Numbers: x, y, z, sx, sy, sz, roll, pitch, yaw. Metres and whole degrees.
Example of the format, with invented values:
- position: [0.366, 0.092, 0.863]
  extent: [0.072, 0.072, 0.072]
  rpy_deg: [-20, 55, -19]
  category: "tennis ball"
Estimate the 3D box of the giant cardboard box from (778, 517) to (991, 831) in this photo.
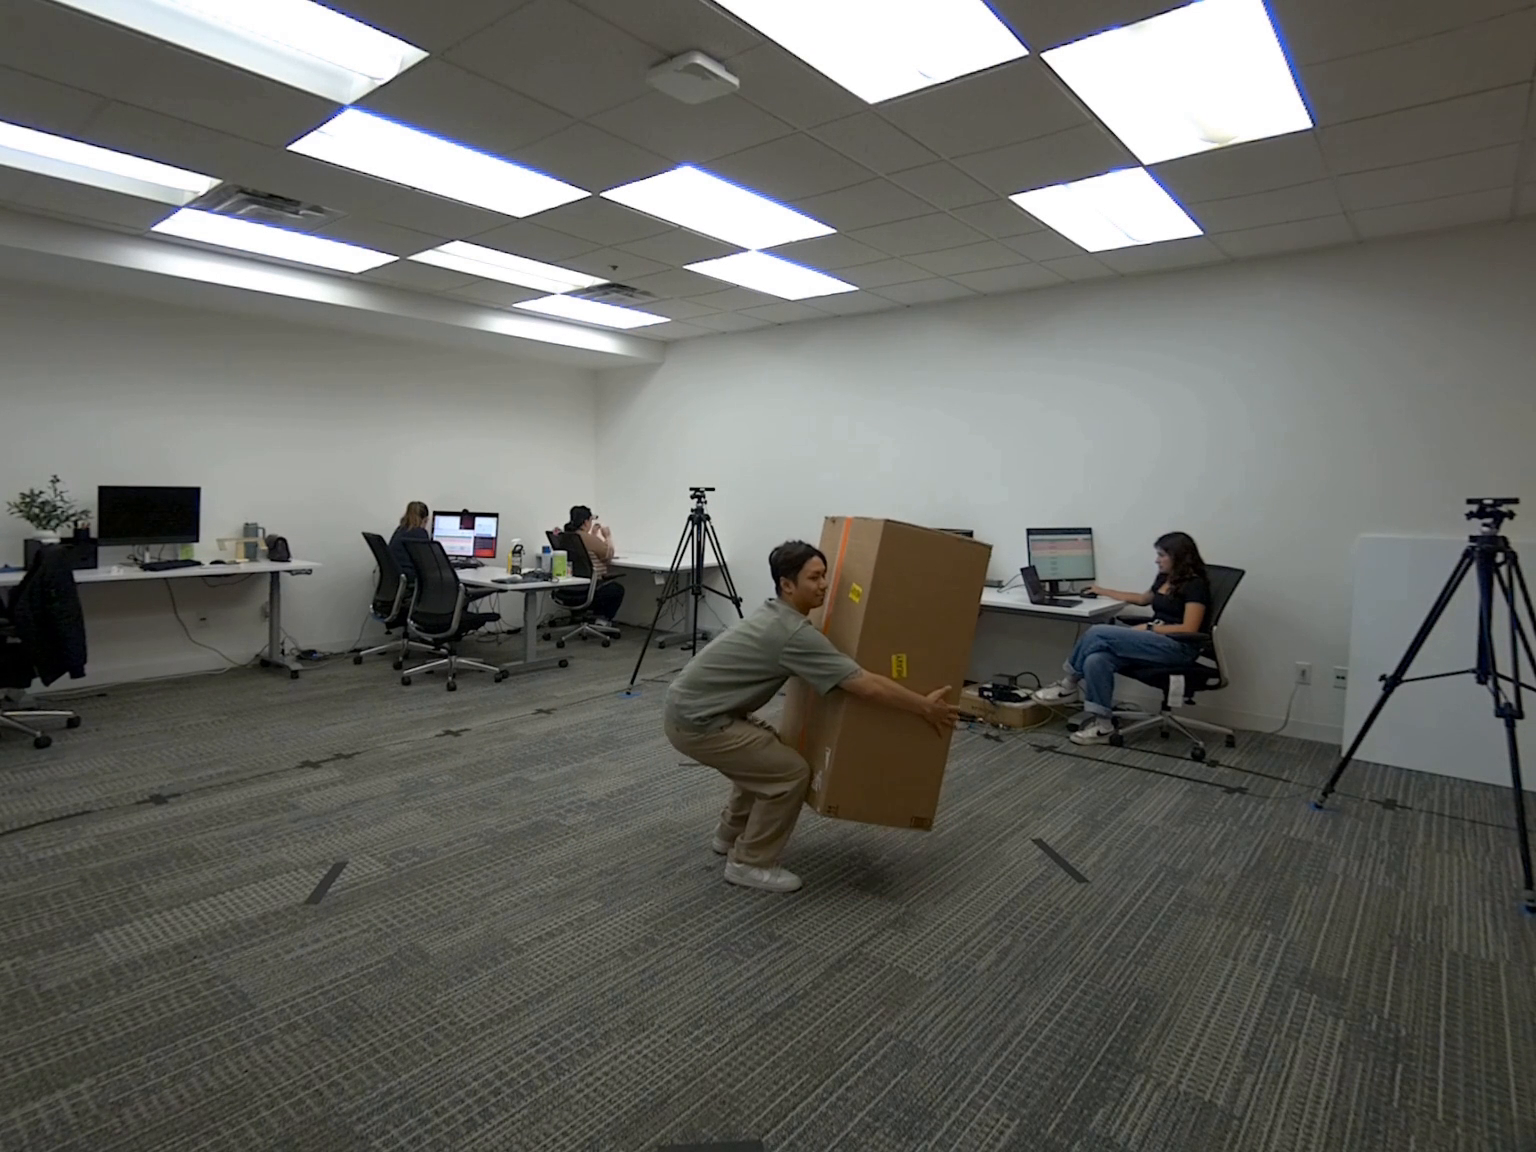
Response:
- position: [0.402, 0.316, 3.162]
  extent: [0.420, 1.026, 0.586]
  rpy_deg: [11, 0, -14]
  category: "giant cardboard box"
